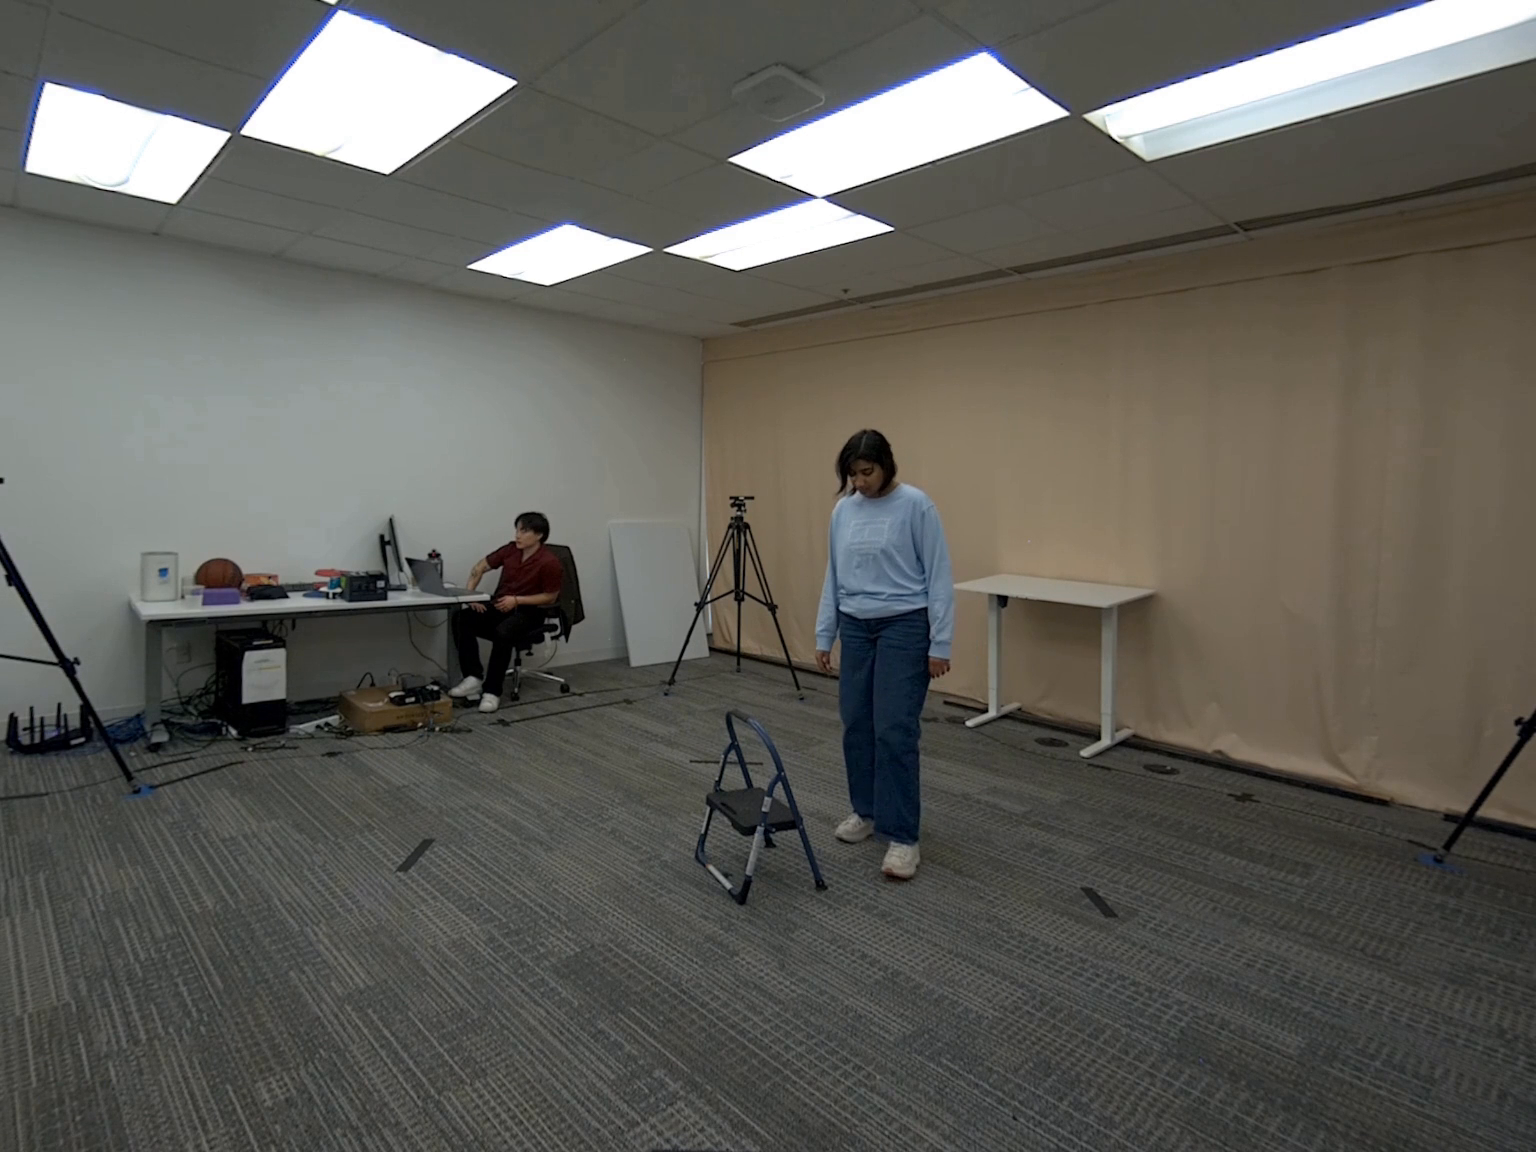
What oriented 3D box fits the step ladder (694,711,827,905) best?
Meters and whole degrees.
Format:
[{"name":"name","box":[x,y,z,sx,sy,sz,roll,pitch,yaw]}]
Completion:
[{"name":"step ladder","box":[-0.038,0.803,3.110,0.343,0.605,0.440,0,4,-27]}]
